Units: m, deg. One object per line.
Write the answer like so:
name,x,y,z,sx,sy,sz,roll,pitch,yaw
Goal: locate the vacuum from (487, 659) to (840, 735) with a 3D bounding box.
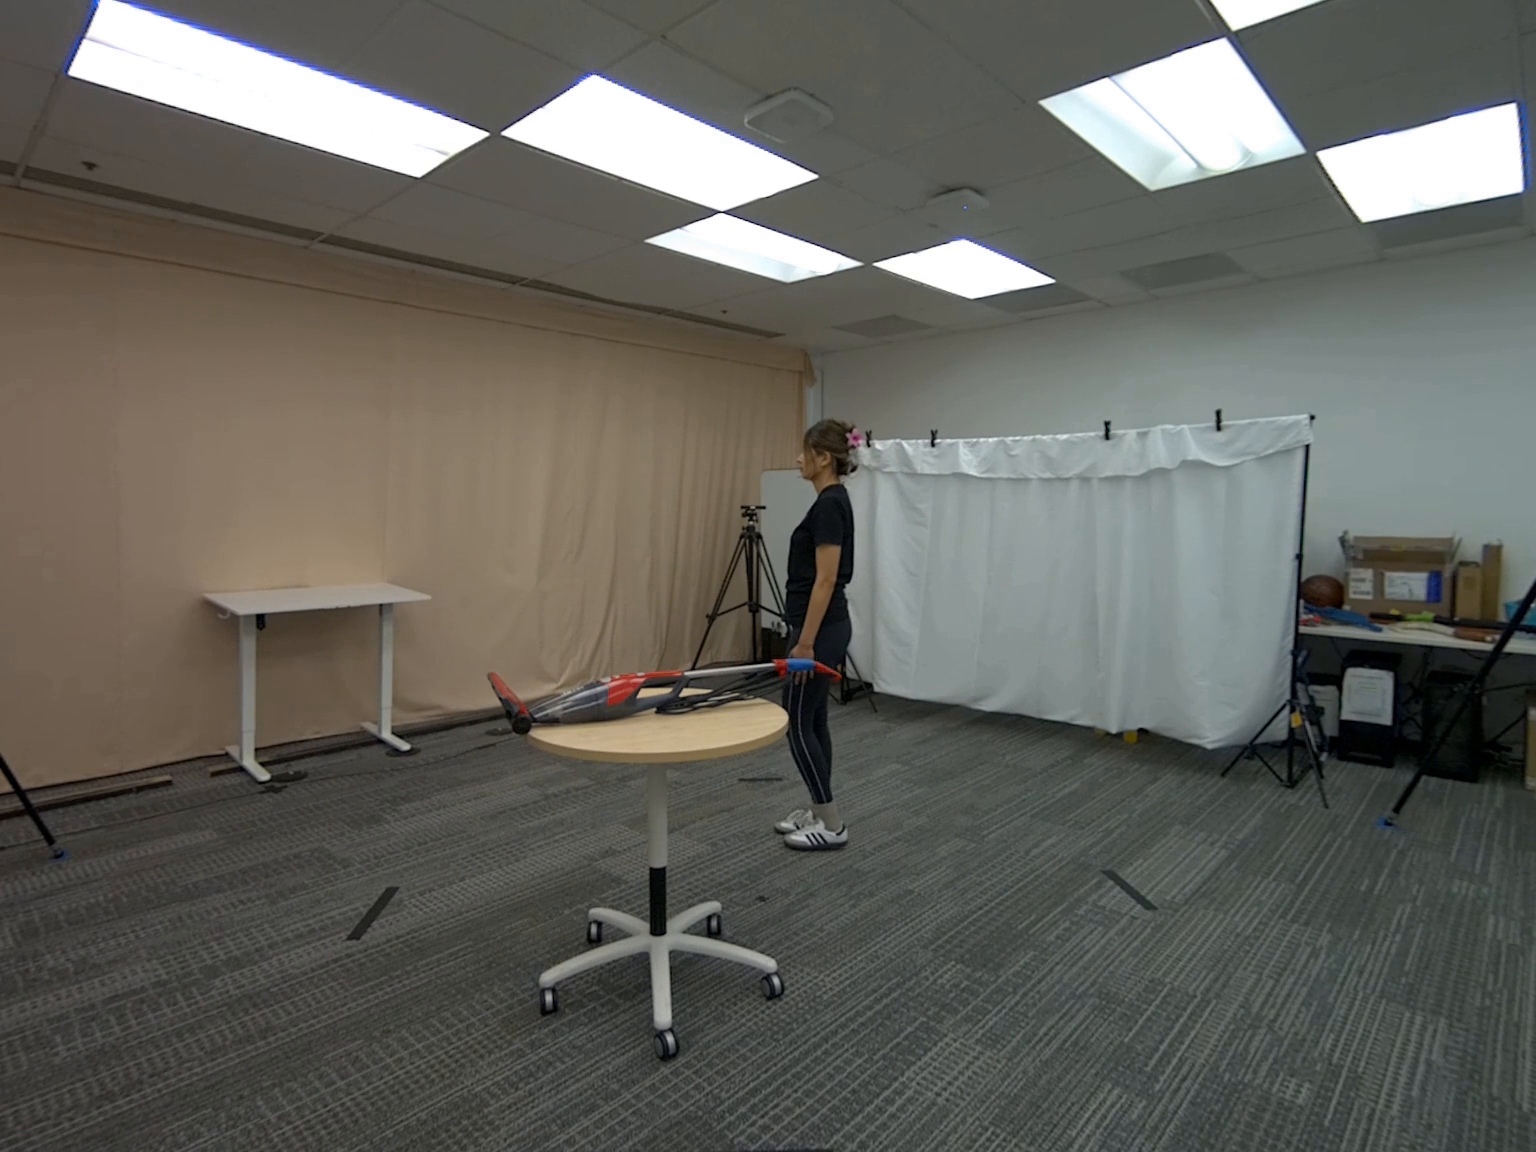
vacuum,-0.254,0.352,2.487,1.026,0.143,0.260,-2,12,-23
